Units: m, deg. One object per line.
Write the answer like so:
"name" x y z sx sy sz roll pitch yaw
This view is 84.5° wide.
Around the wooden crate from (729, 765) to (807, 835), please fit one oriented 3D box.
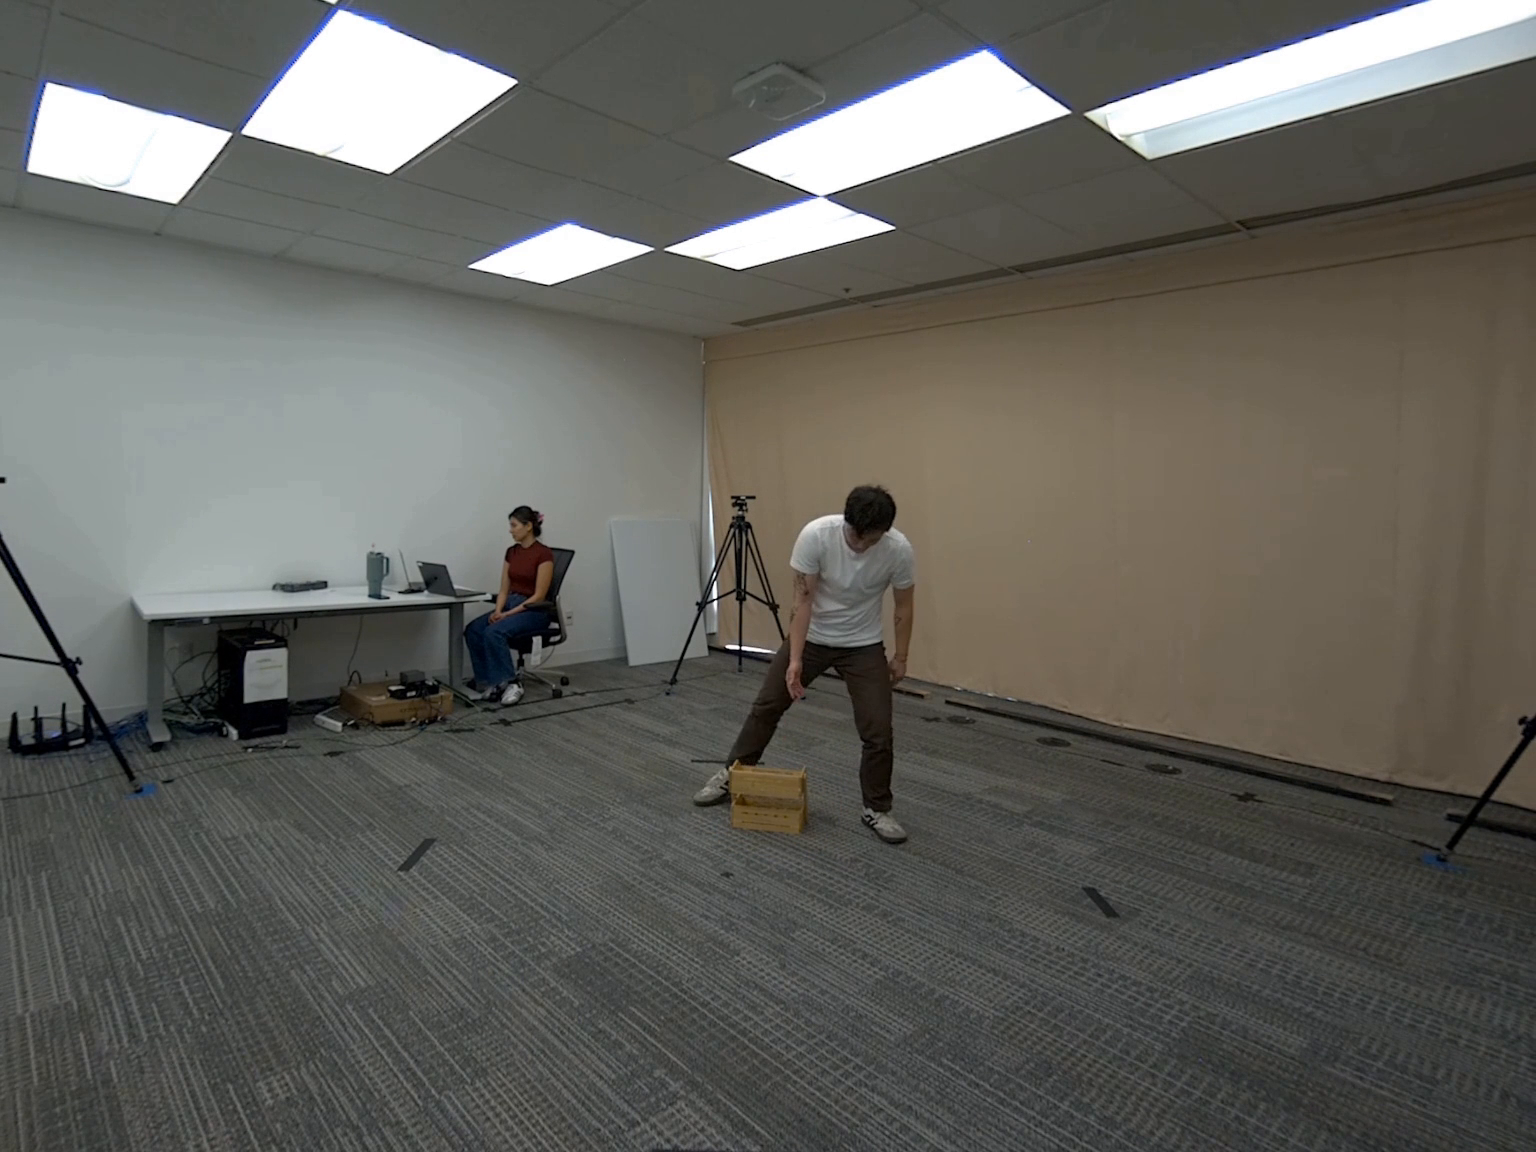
"wooden crate" 0.001 0.928 3.624 0.327 0.272 0.300 3 5 11
